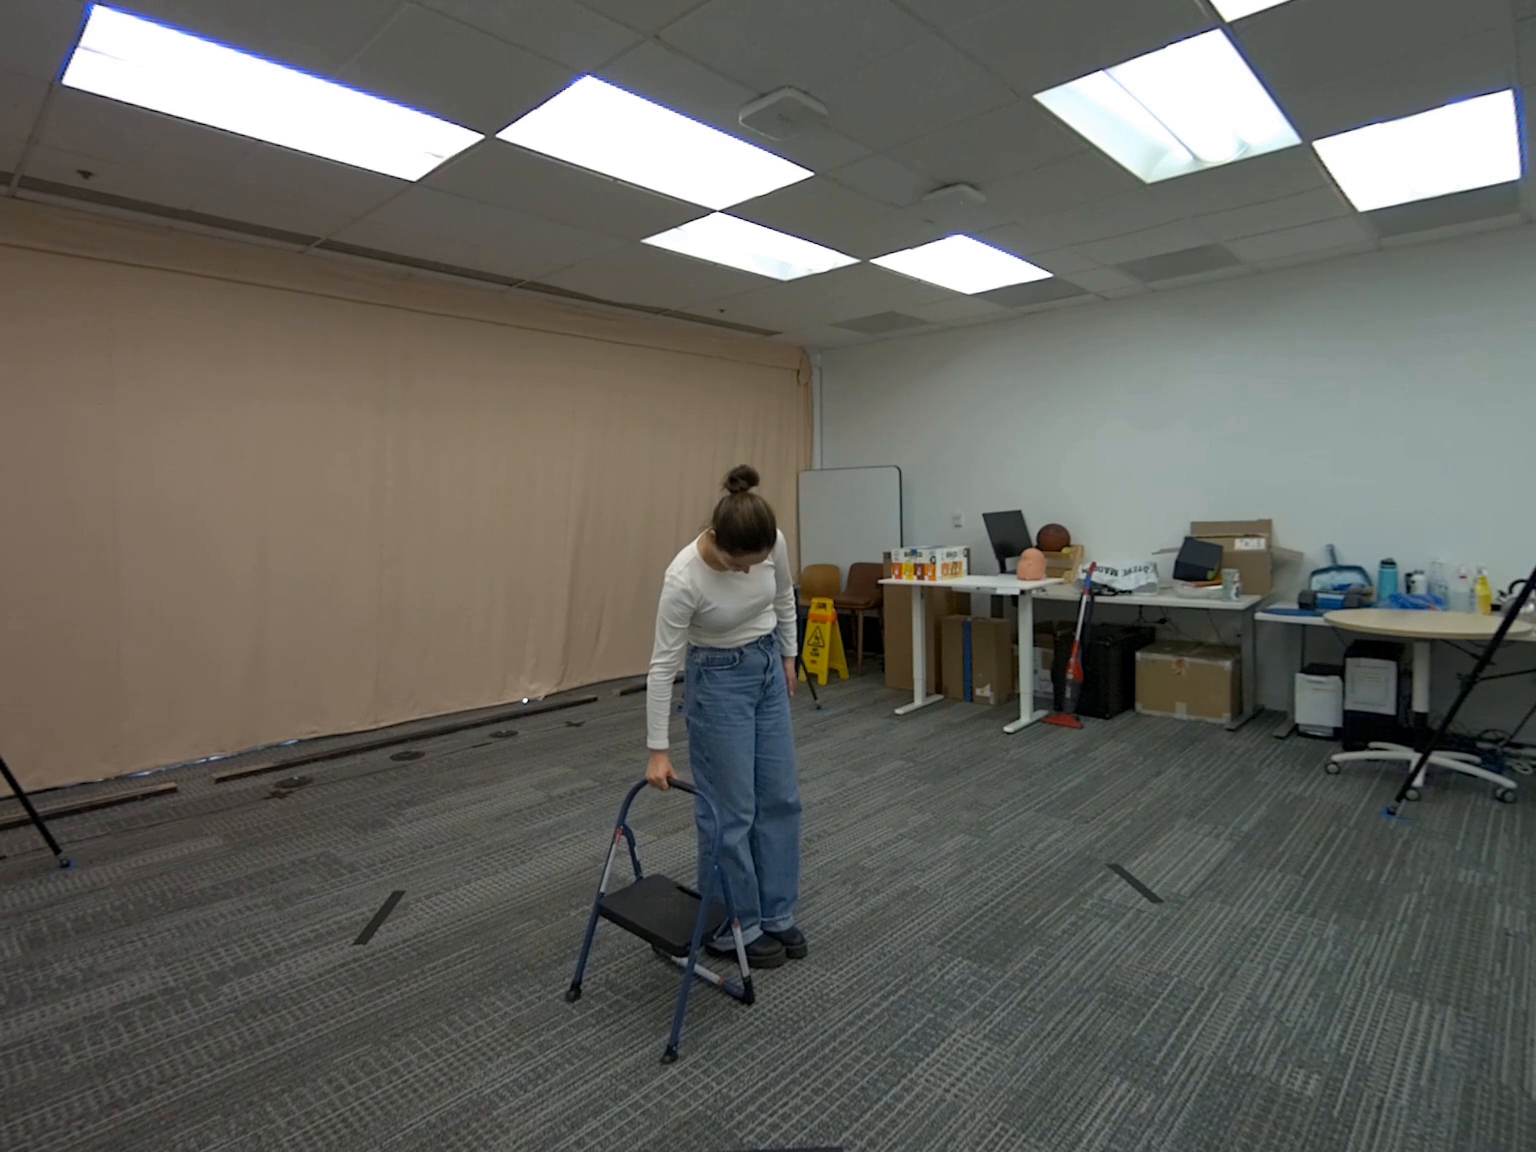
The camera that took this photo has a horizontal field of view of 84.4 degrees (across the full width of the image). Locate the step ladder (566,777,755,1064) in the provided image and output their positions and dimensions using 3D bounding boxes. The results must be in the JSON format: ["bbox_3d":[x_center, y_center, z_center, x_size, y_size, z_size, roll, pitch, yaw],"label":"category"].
[{"bbox_3d":[-0.299,0.897,2.341,0.445,0.604,0.339,6,8,42],"label":"step ladder"}]
